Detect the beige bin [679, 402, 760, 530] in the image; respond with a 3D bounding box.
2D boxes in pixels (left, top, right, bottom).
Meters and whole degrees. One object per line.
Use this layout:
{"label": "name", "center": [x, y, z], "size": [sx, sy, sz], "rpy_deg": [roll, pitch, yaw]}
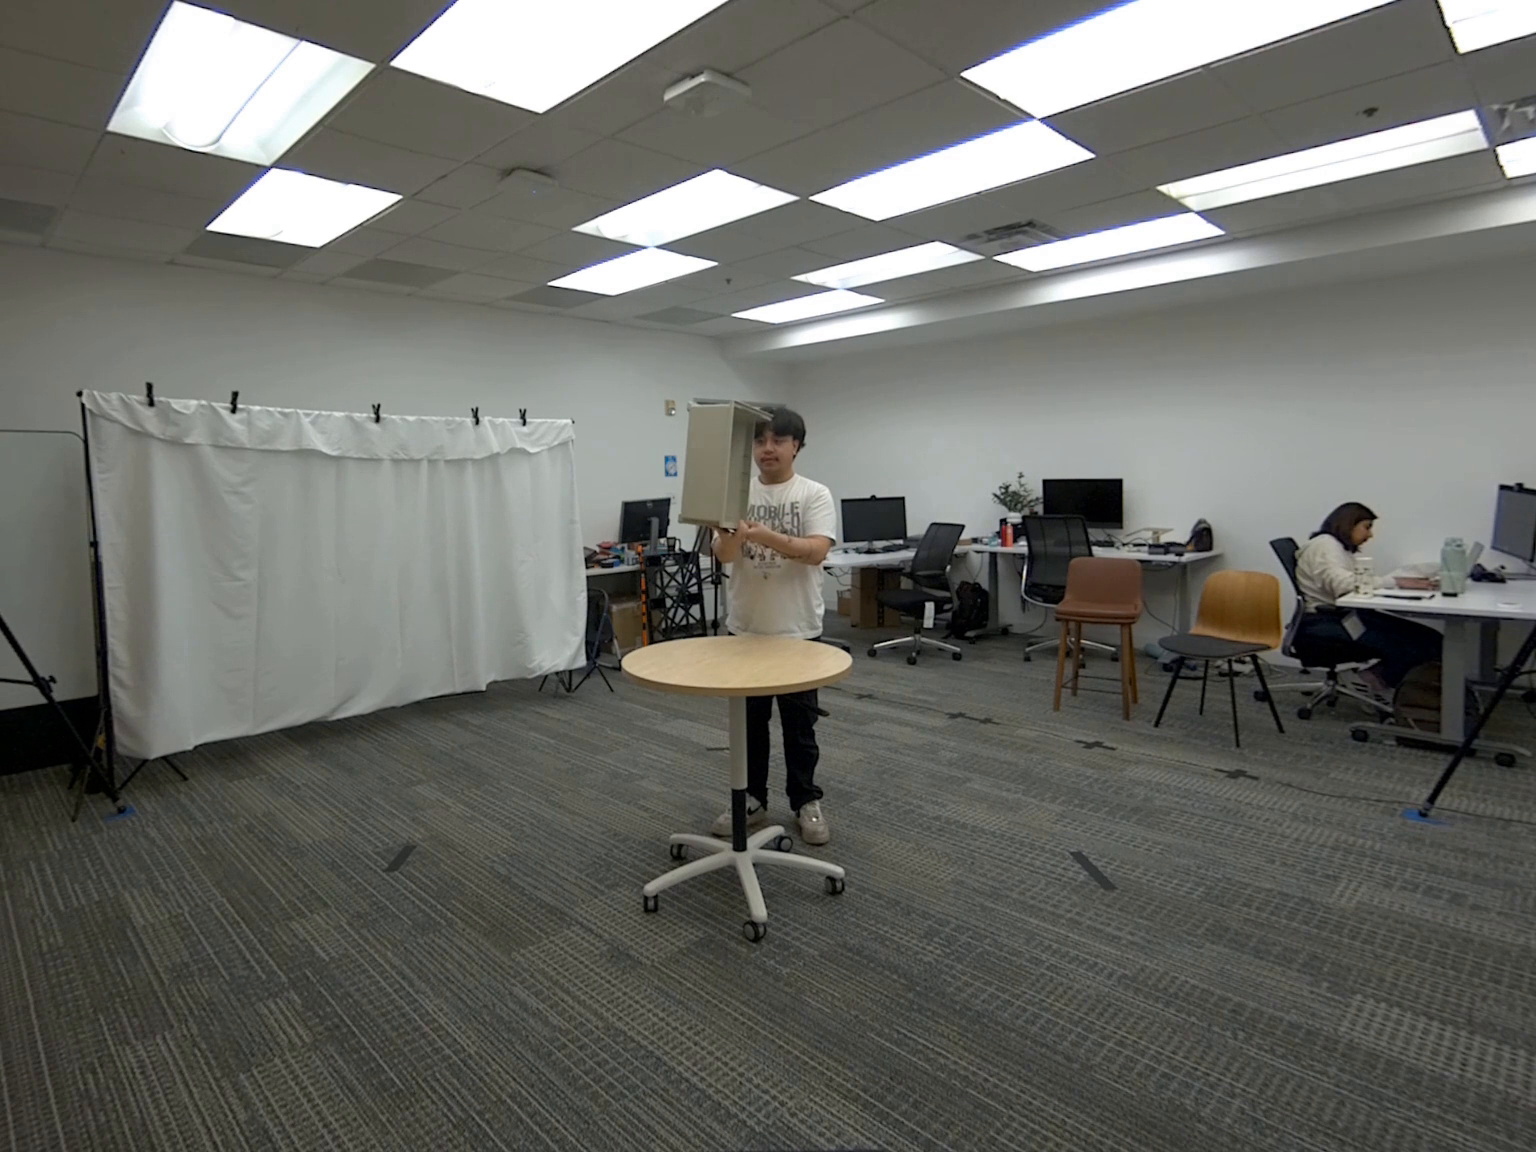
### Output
{"label": "beige bin", "center": [-0.127, -0.379, 2.994], "size": [0.194, 0.422, 0.368], "rpy_deg": [5, 1, 26]}
